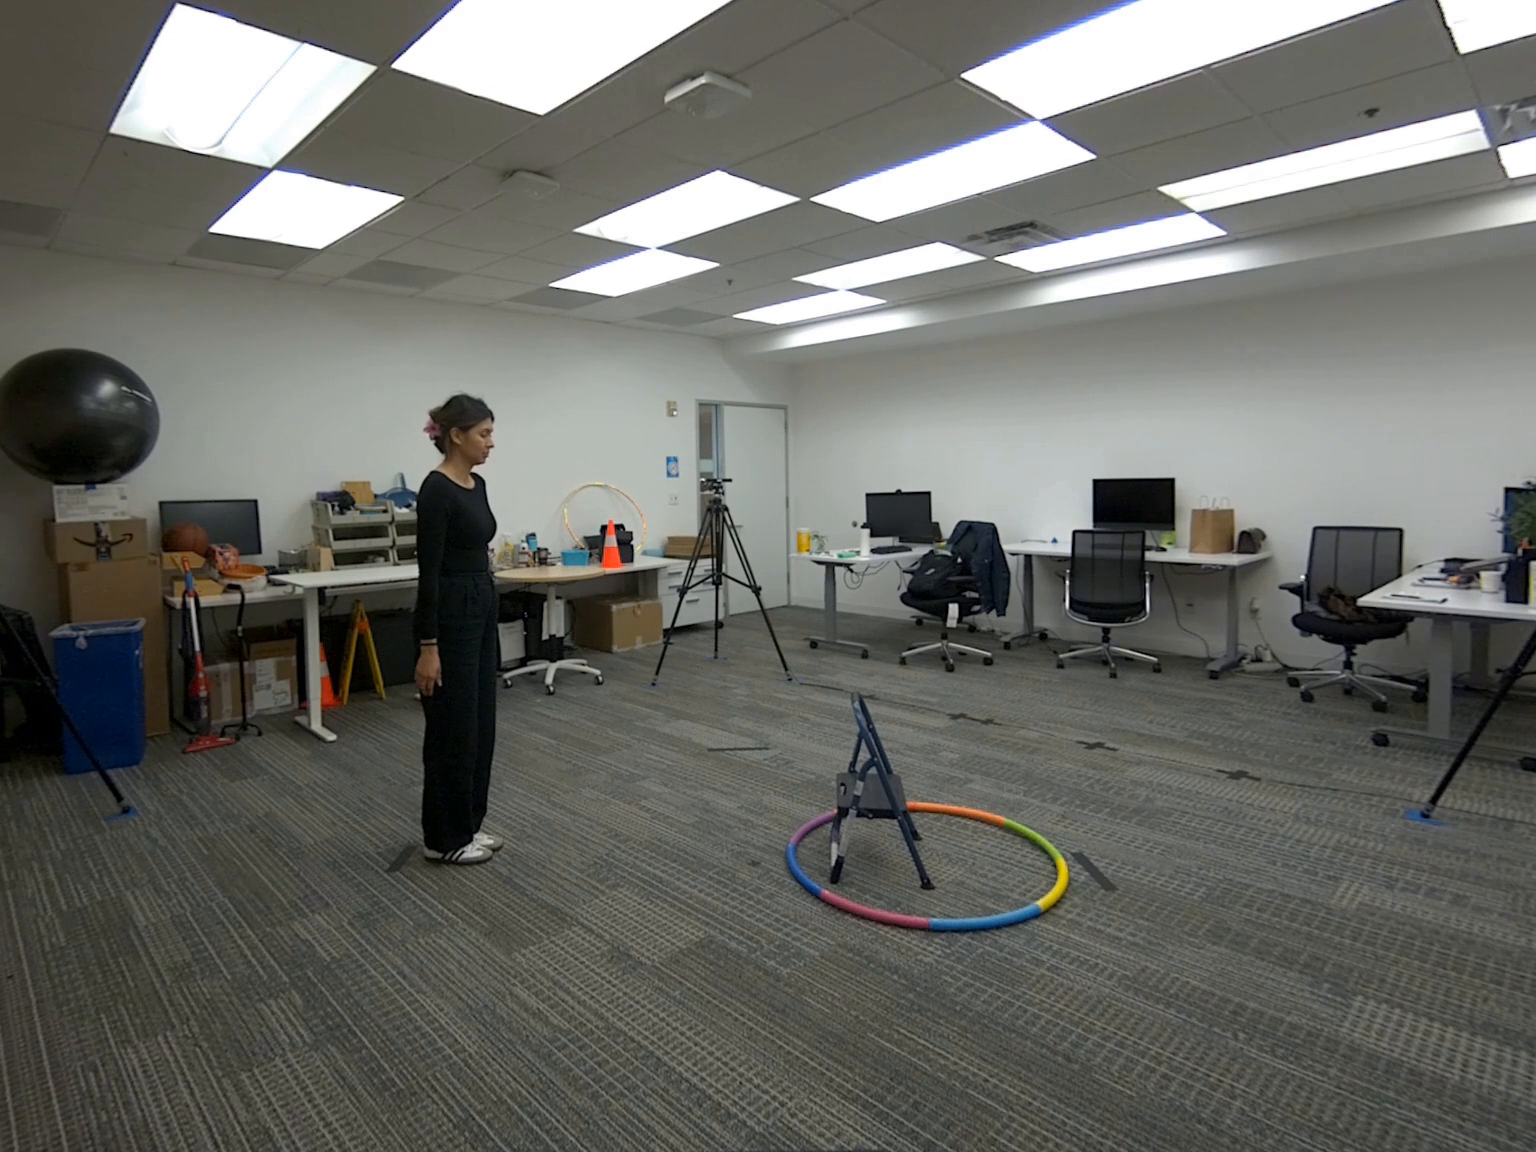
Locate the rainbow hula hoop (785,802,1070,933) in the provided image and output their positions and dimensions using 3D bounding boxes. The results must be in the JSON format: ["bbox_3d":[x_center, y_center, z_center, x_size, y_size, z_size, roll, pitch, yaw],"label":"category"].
[{"bbox_3d":[0.546,0.993,3.106,0.978,0.035,0.984,-2,6,-2],"label":"rainbow hula hoop"}]
